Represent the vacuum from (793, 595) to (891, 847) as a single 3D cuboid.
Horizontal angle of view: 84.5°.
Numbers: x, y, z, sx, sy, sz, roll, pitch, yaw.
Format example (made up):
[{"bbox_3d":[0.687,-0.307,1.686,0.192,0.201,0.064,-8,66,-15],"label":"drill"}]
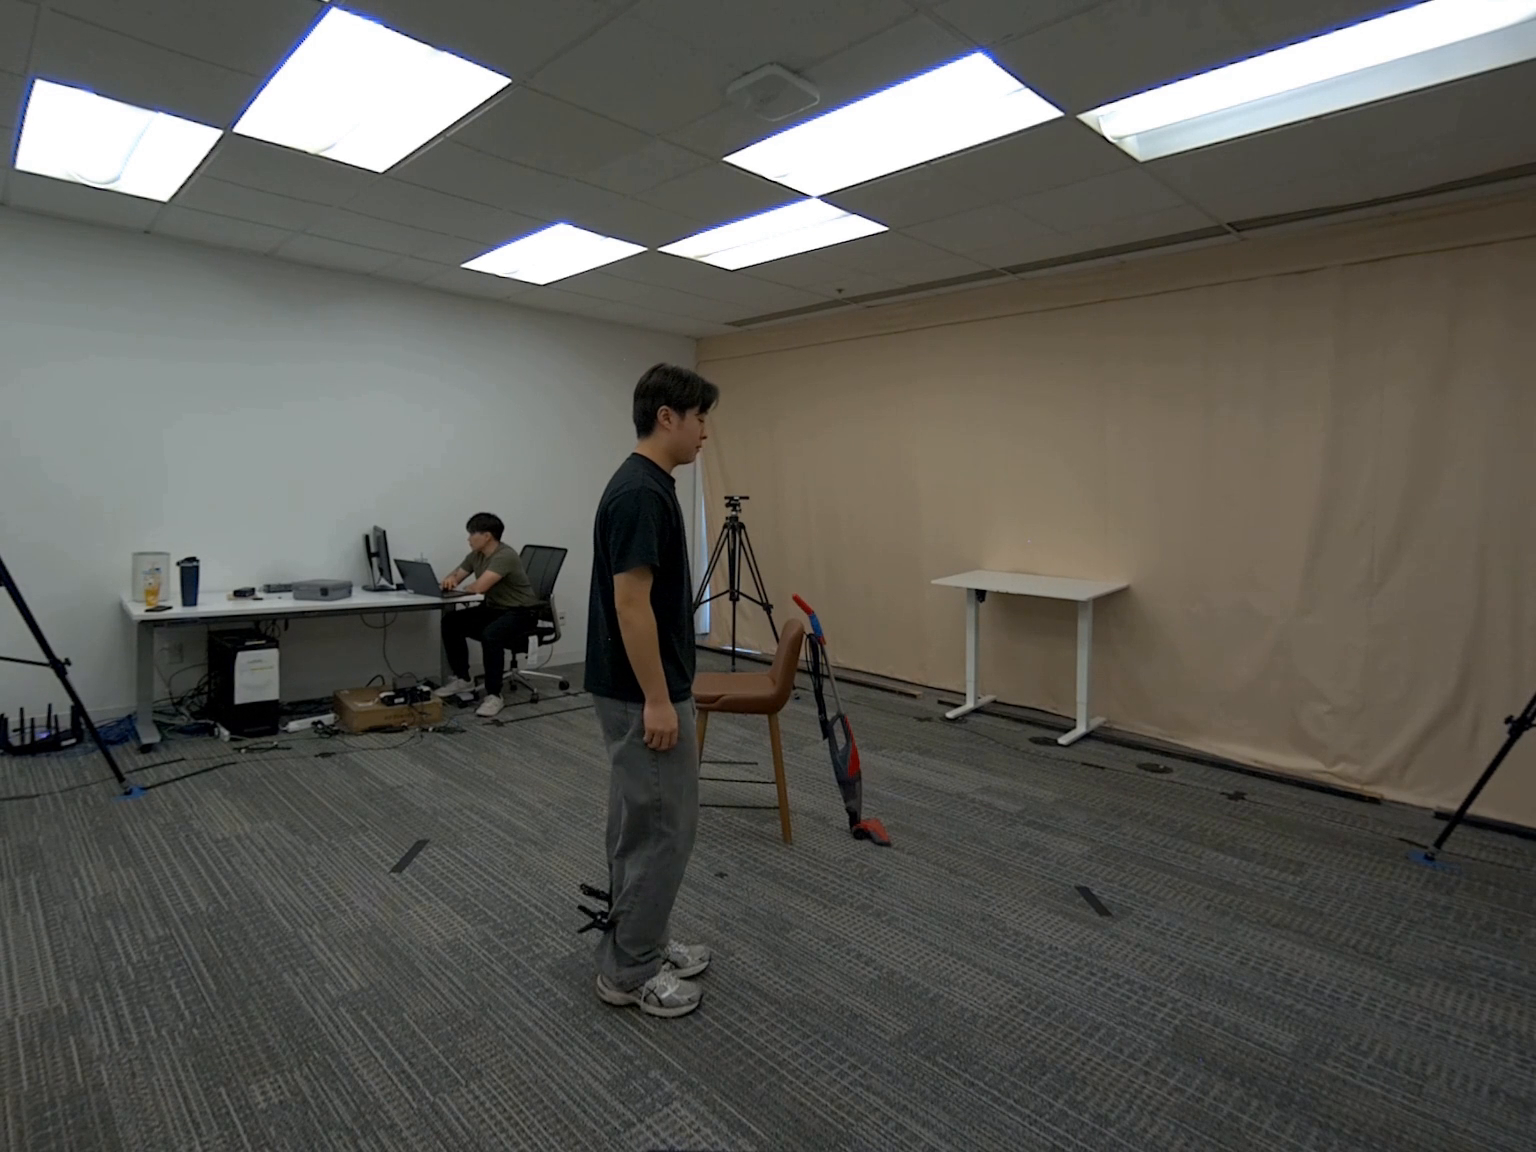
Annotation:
[{"bbox_3d":[0.267,0.577,3.492,0.143,1.045,0.255,-17,5,-11],"label":"vacuum"}]
